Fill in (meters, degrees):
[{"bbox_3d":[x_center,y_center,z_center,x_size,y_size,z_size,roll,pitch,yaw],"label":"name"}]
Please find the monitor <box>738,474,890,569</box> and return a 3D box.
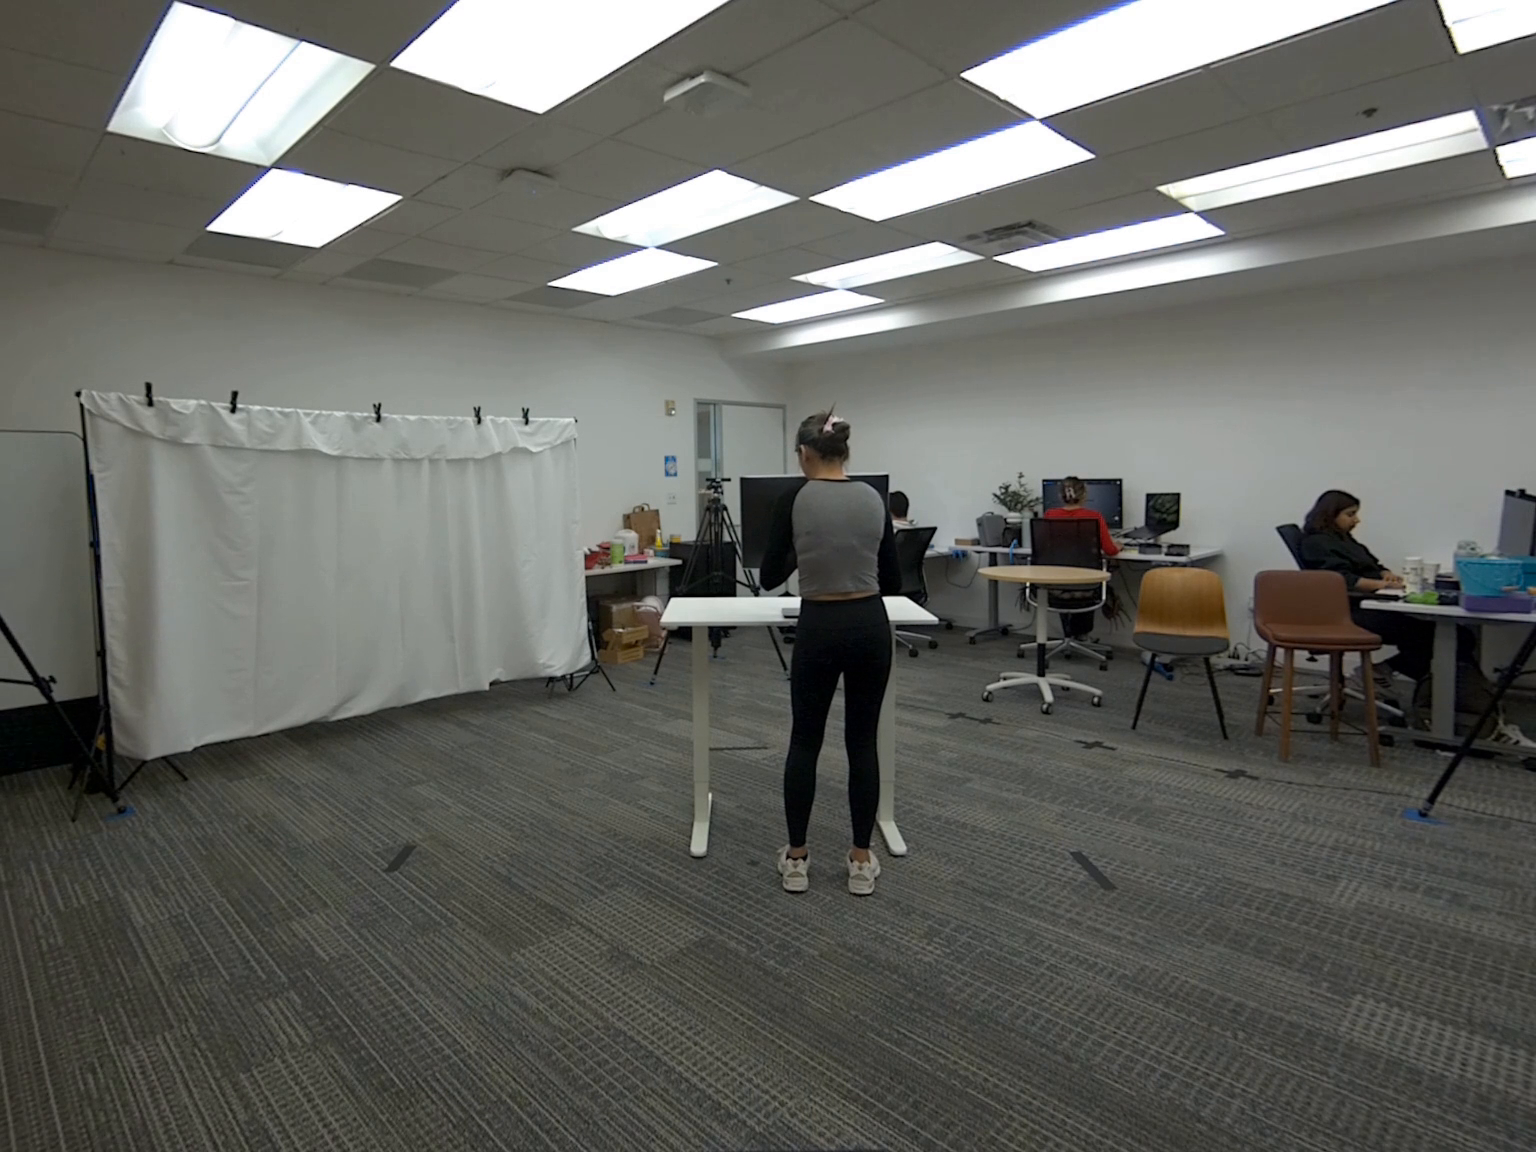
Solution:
[{"bbox_3d":[0.169,-0.107,3.198,0.540,0.521,0.187,0,2,1],"label":"monitor"}]
